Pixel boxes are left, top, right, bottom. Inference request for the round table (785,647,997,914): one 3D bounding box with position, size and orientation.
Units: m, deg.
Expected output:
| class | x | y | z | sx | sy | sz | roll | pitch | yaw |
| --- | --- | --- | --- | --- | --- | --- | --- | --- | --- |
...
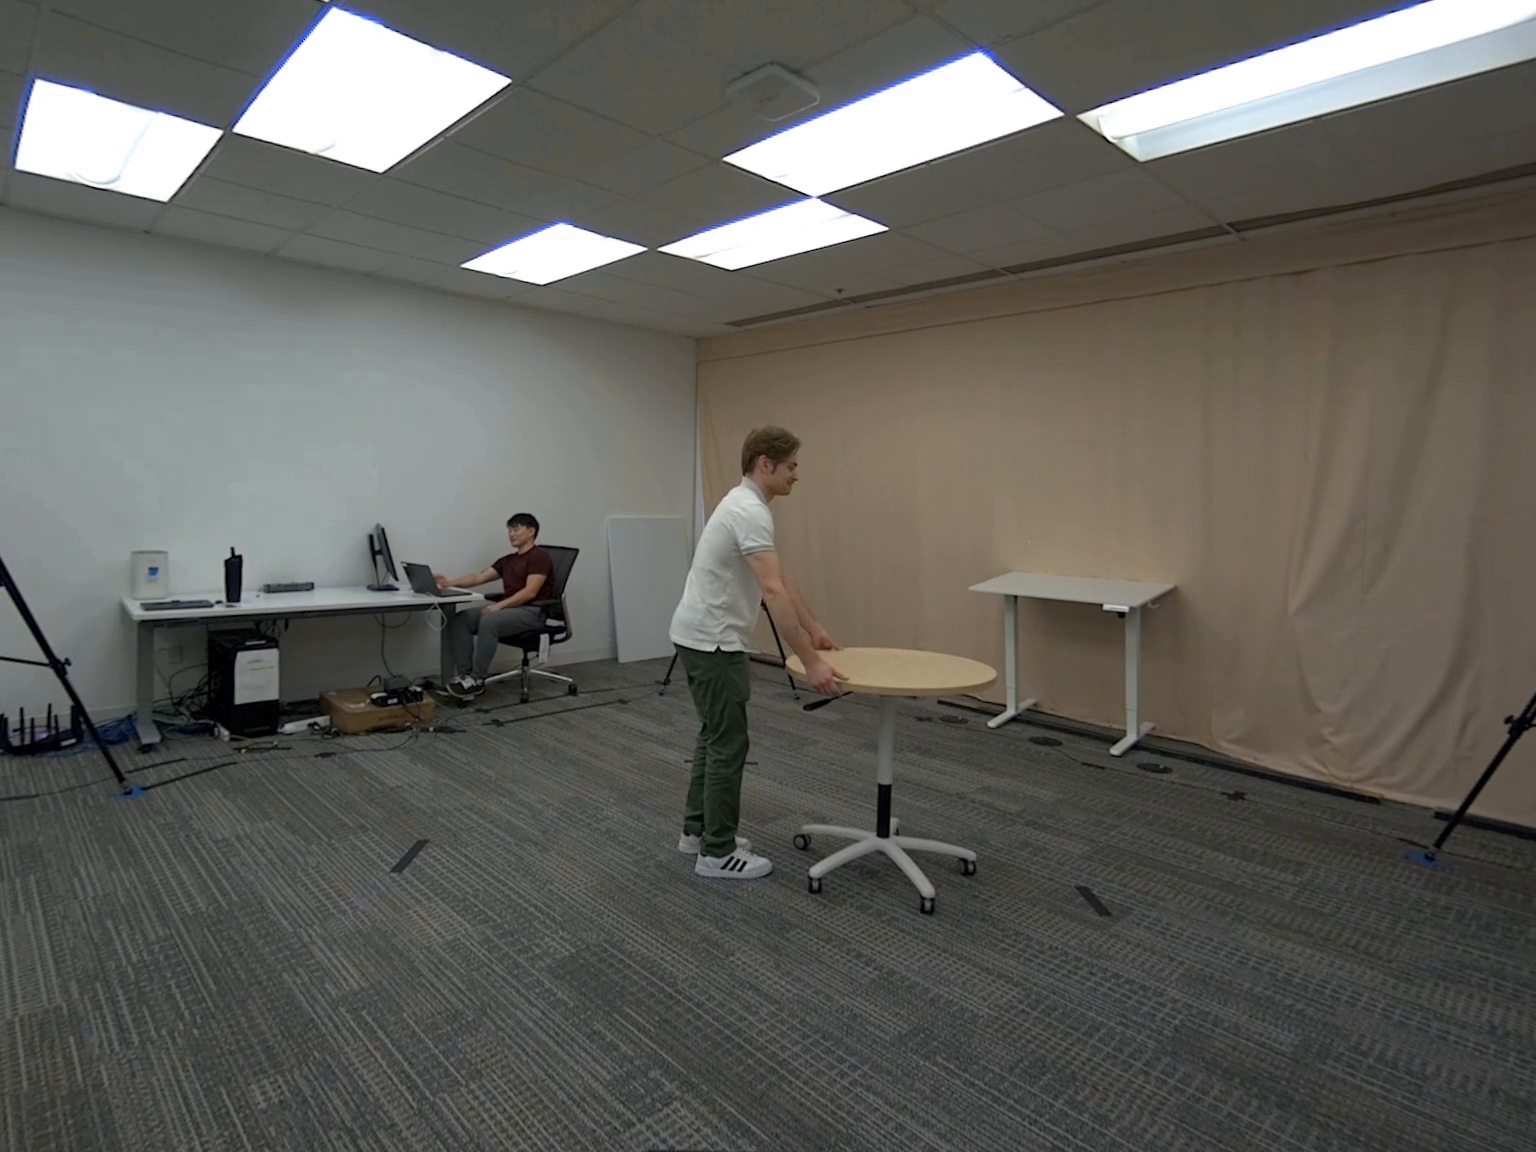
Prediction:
| class | x | y | z | sx | sy | sz | roll | pitch | yaw |
| --- | --- | --- | --- | --- | --- | --- | --- | --- | --- |
| round table | 0.424 | 0.725 | 3.135 | 0.763 | 0.792 | 0.766 | 2 | 4 | -1 |
